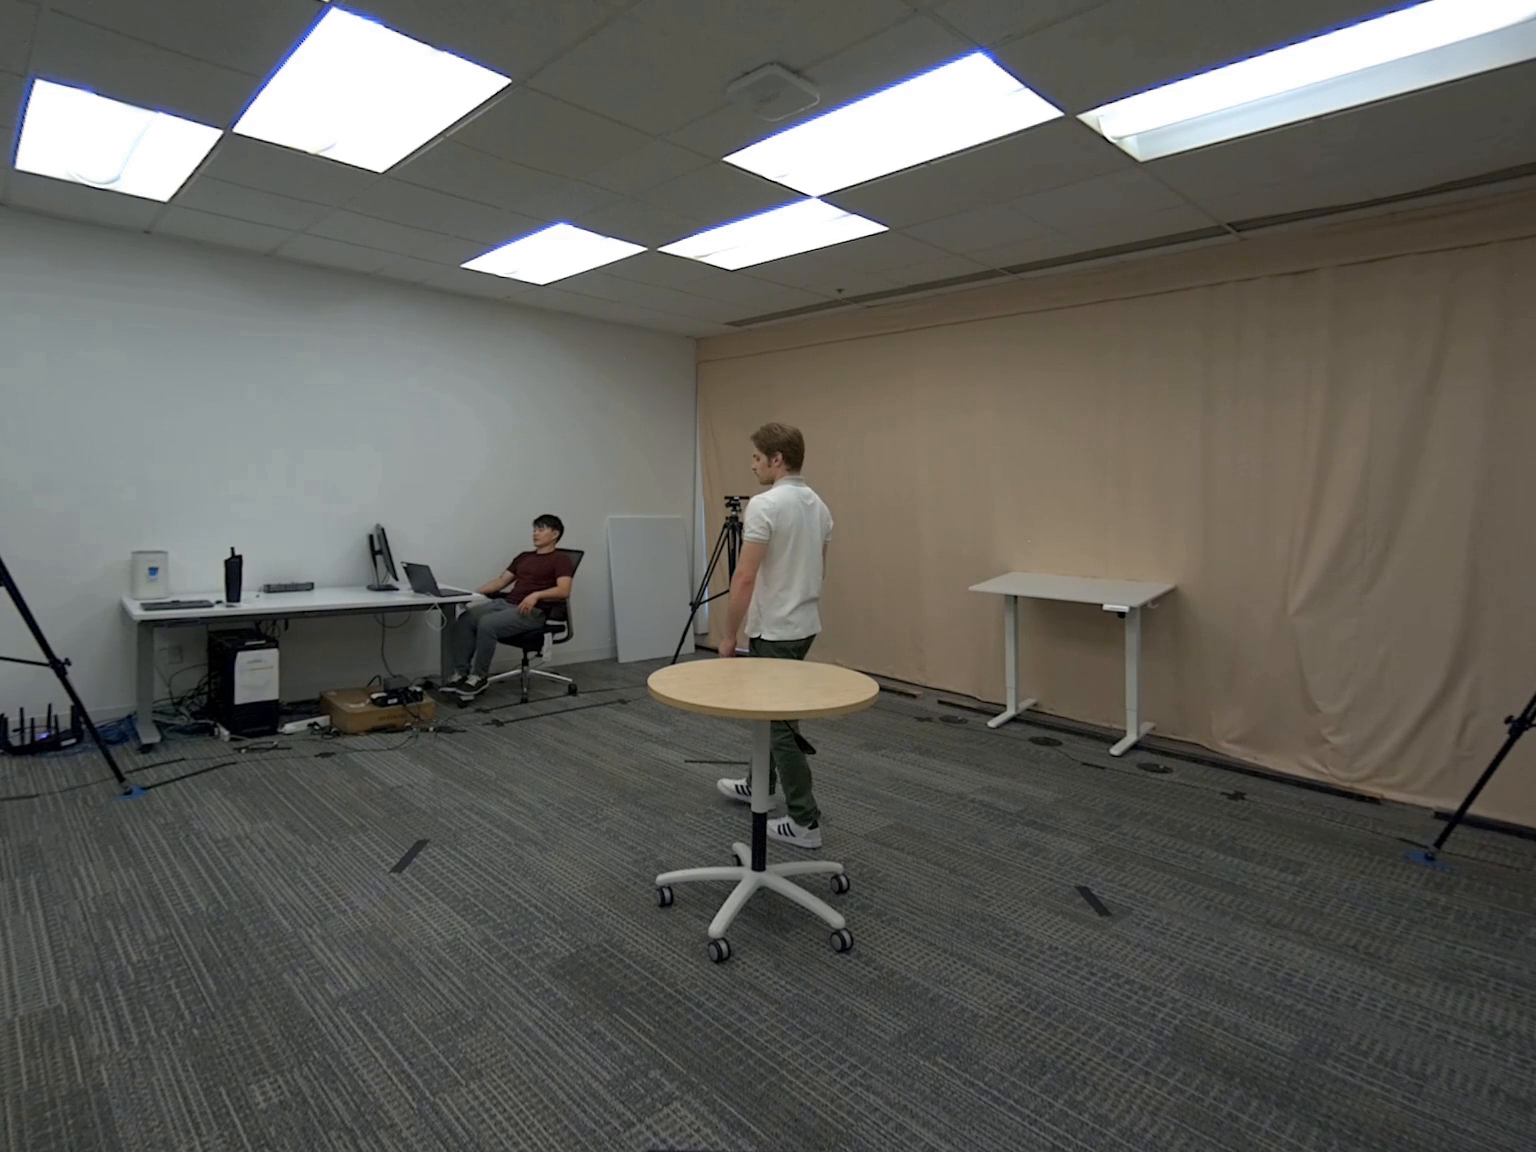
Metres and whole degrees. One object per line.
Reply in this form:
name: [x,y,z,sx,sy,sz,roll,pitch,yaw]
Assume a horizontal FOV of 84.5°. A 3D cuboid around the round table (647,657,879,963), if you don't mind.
round table: [-0.034,0.745,2.822,0.763,0.792,0.767,1,4,-1]
